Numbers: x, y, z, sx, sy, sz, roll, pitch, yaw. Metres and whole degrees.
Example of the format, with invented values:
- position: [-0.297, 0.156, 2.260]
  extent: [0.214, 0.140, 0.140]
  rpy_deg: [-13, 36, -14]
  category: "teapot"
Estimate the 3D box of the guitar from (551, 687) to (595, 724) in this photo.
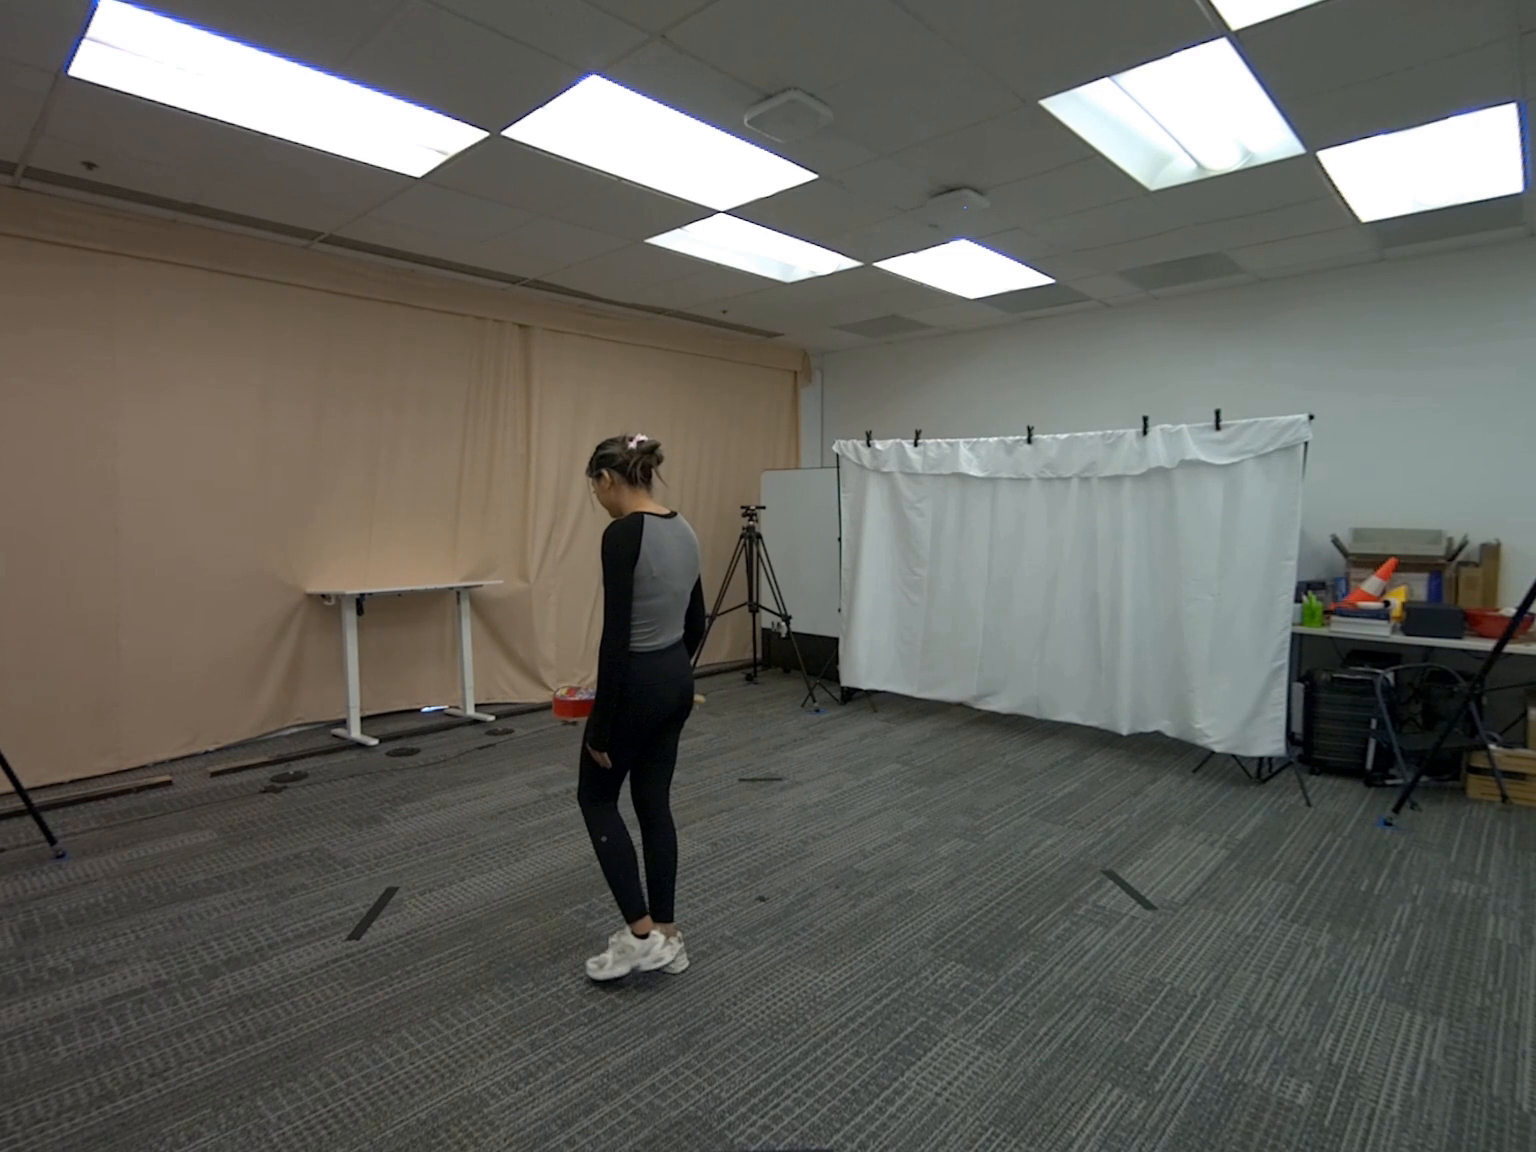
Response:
- position: [-0.463, 0.419, 2.770]
  extent: [0.504, 0.070, 0.191]
  rpy_deg: [3, 7, 10]
  category: "guitar"
